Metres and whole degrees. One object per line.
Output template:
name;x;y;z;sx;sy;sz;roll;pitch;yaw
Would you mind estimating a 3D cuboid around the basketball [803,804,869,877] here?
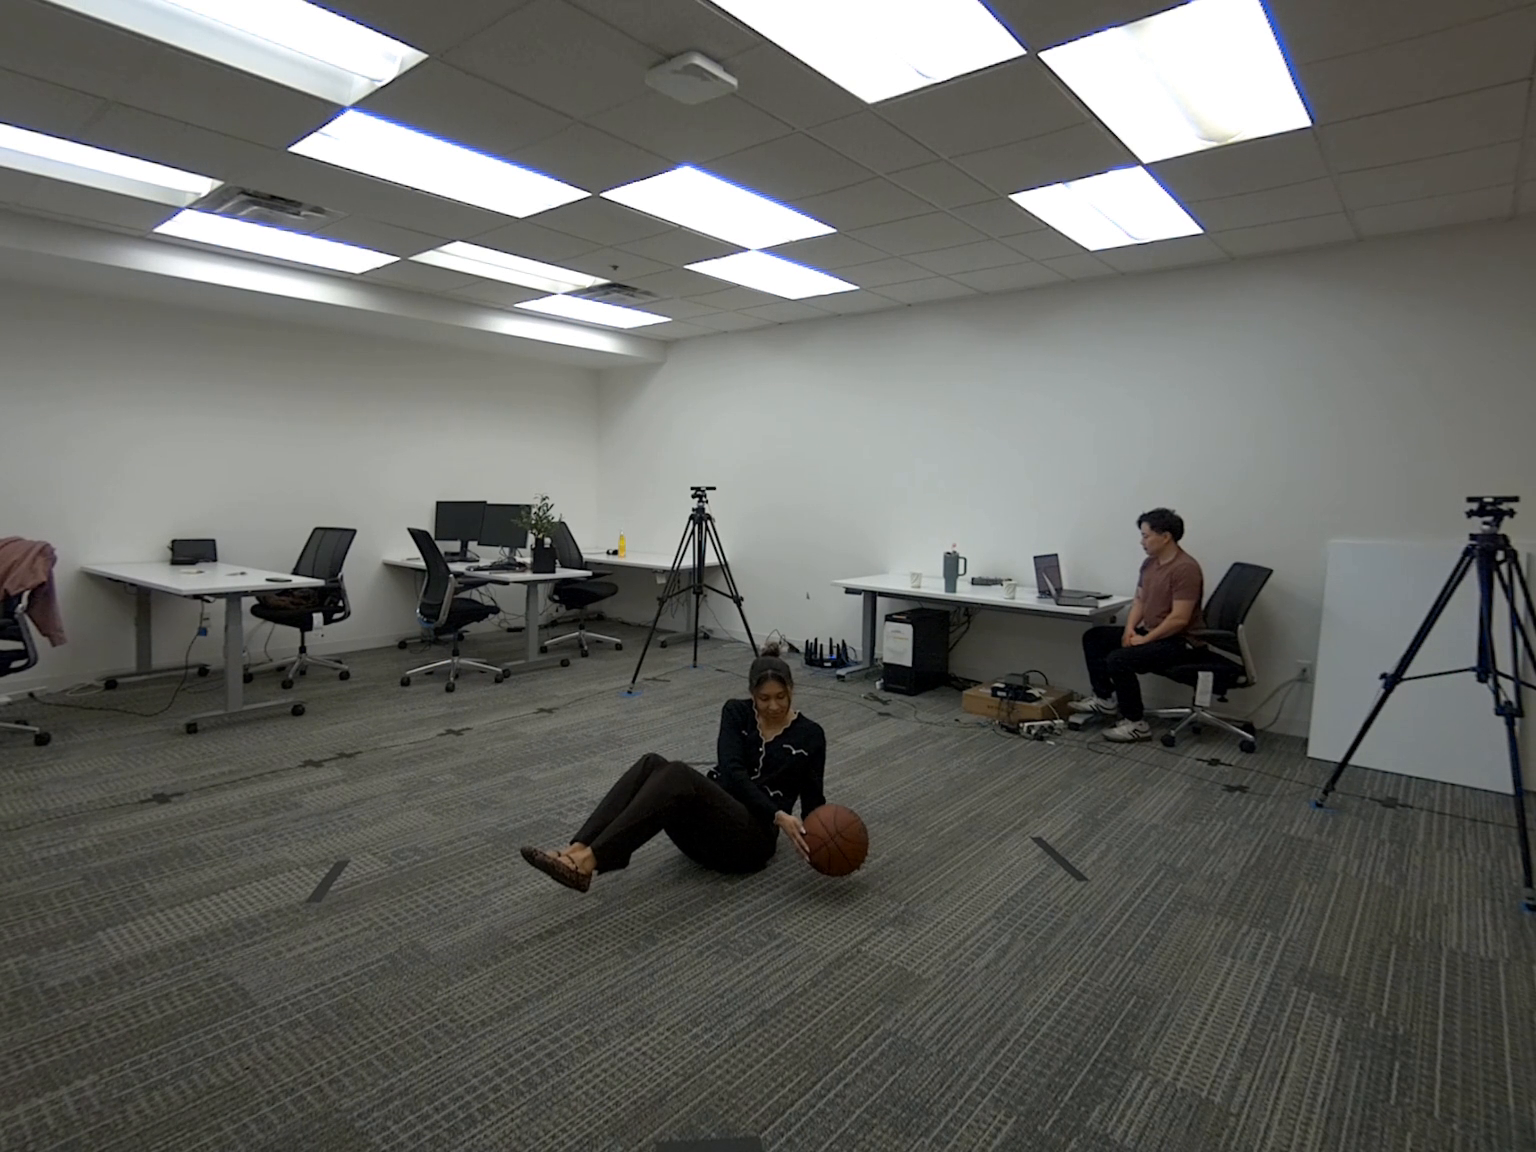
basketball;0.219;0.900;2.929;0.235;0.235;0.237;1;4;-2
